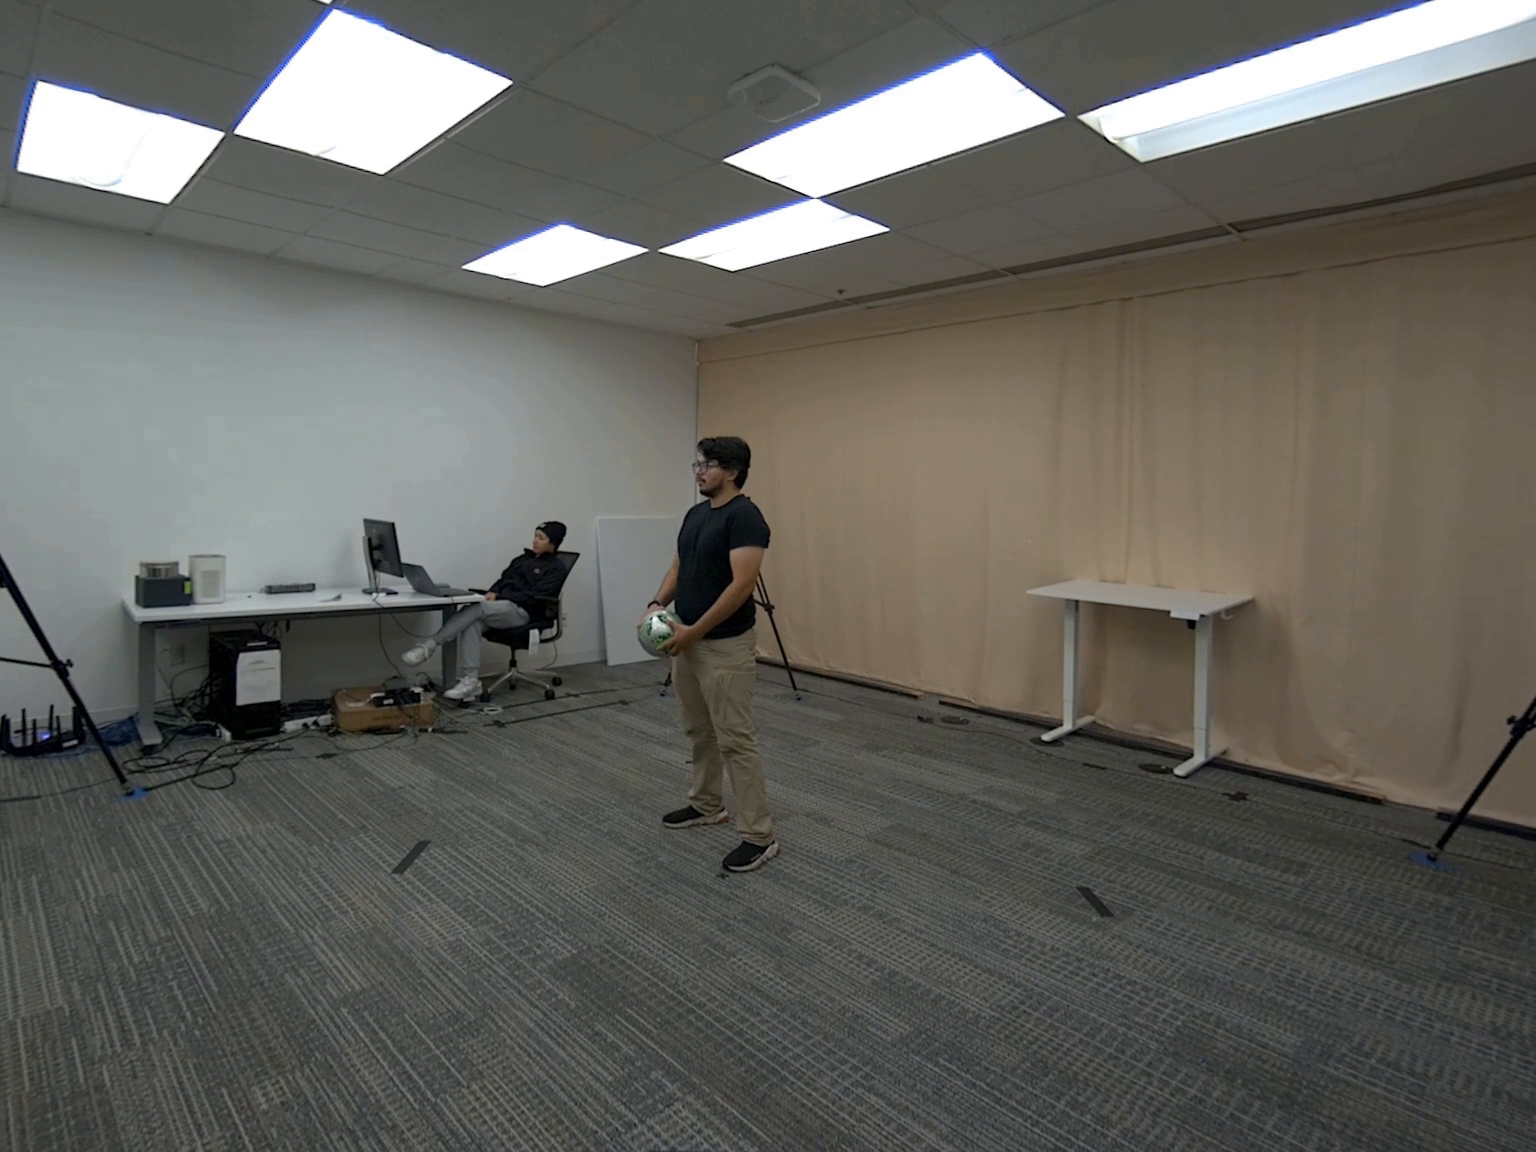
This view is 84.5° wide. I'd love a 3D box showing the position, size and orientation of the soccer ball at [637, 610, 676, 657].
[{"bbox_3d":[-0.423,0.216,3.280,0.187,0.187,0.188,1,4,-1],"label":"soccer ball"}]
